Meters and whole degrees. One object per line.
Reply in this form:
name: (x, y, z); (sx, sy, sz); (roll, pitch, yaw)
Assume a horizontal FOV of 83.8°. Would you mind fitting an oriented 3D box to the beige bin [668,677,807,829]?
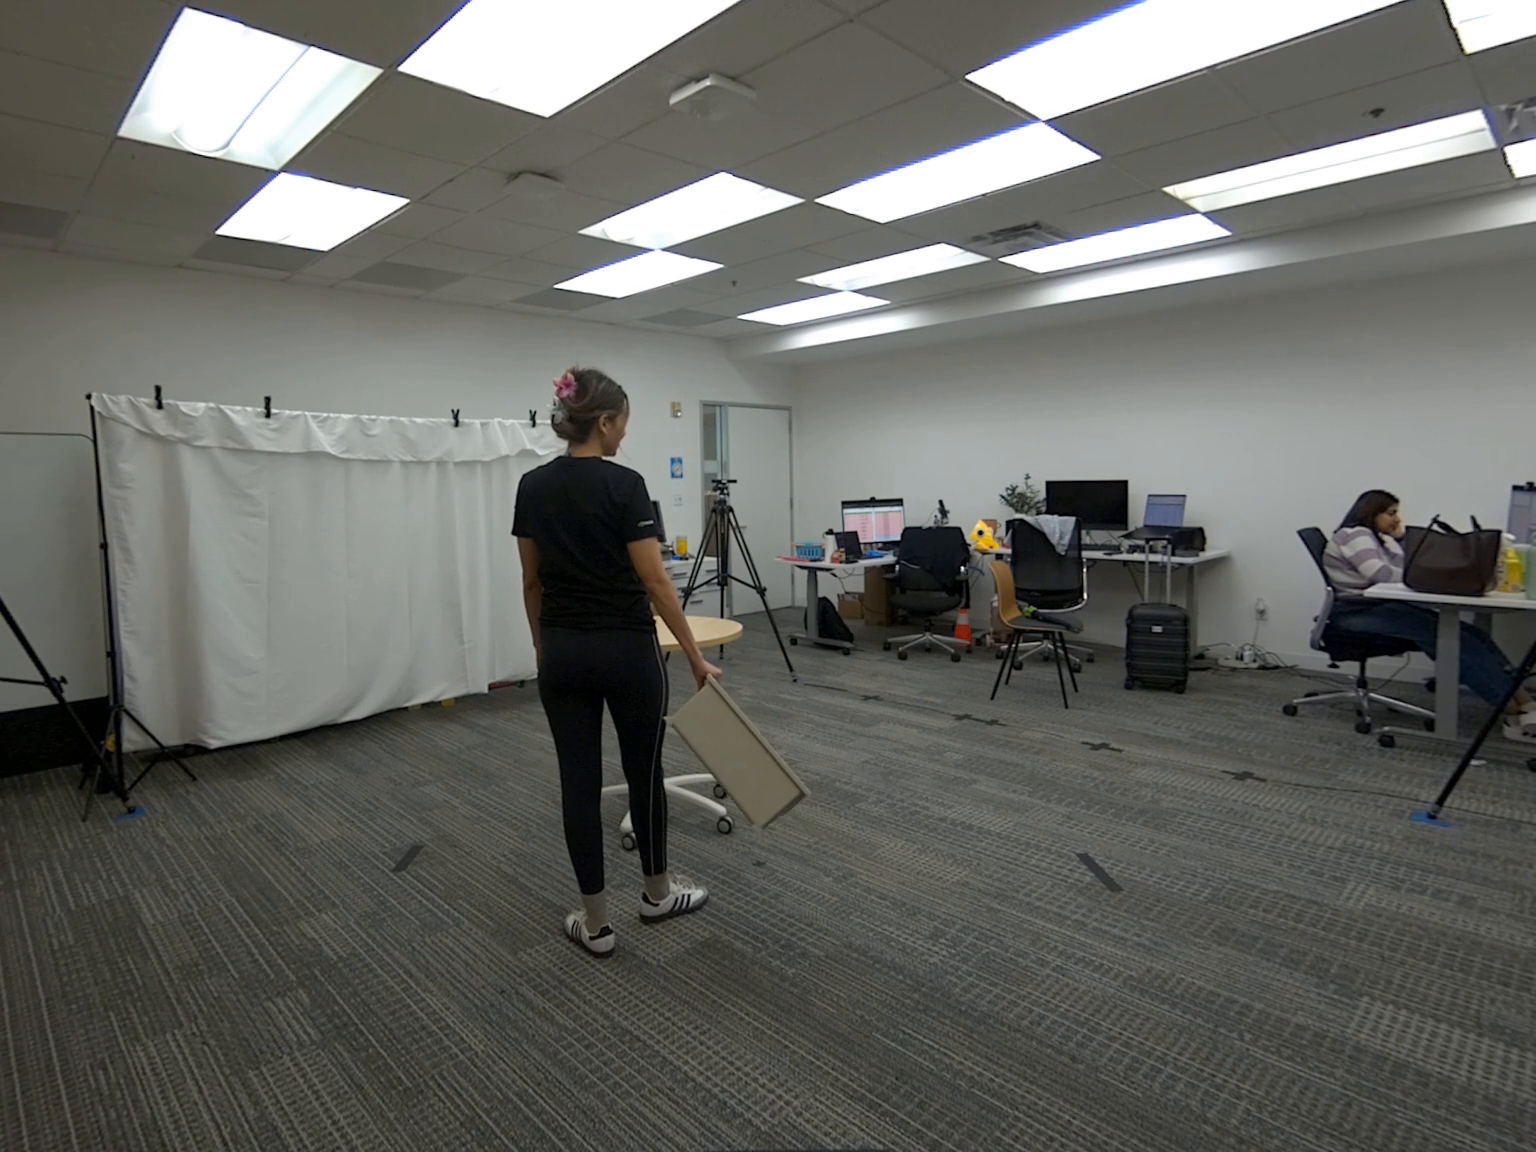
beige bin: (-0.072, 0.524, 2.519); (0.189, 0.431, 0.370); (-42, -15, -4)
